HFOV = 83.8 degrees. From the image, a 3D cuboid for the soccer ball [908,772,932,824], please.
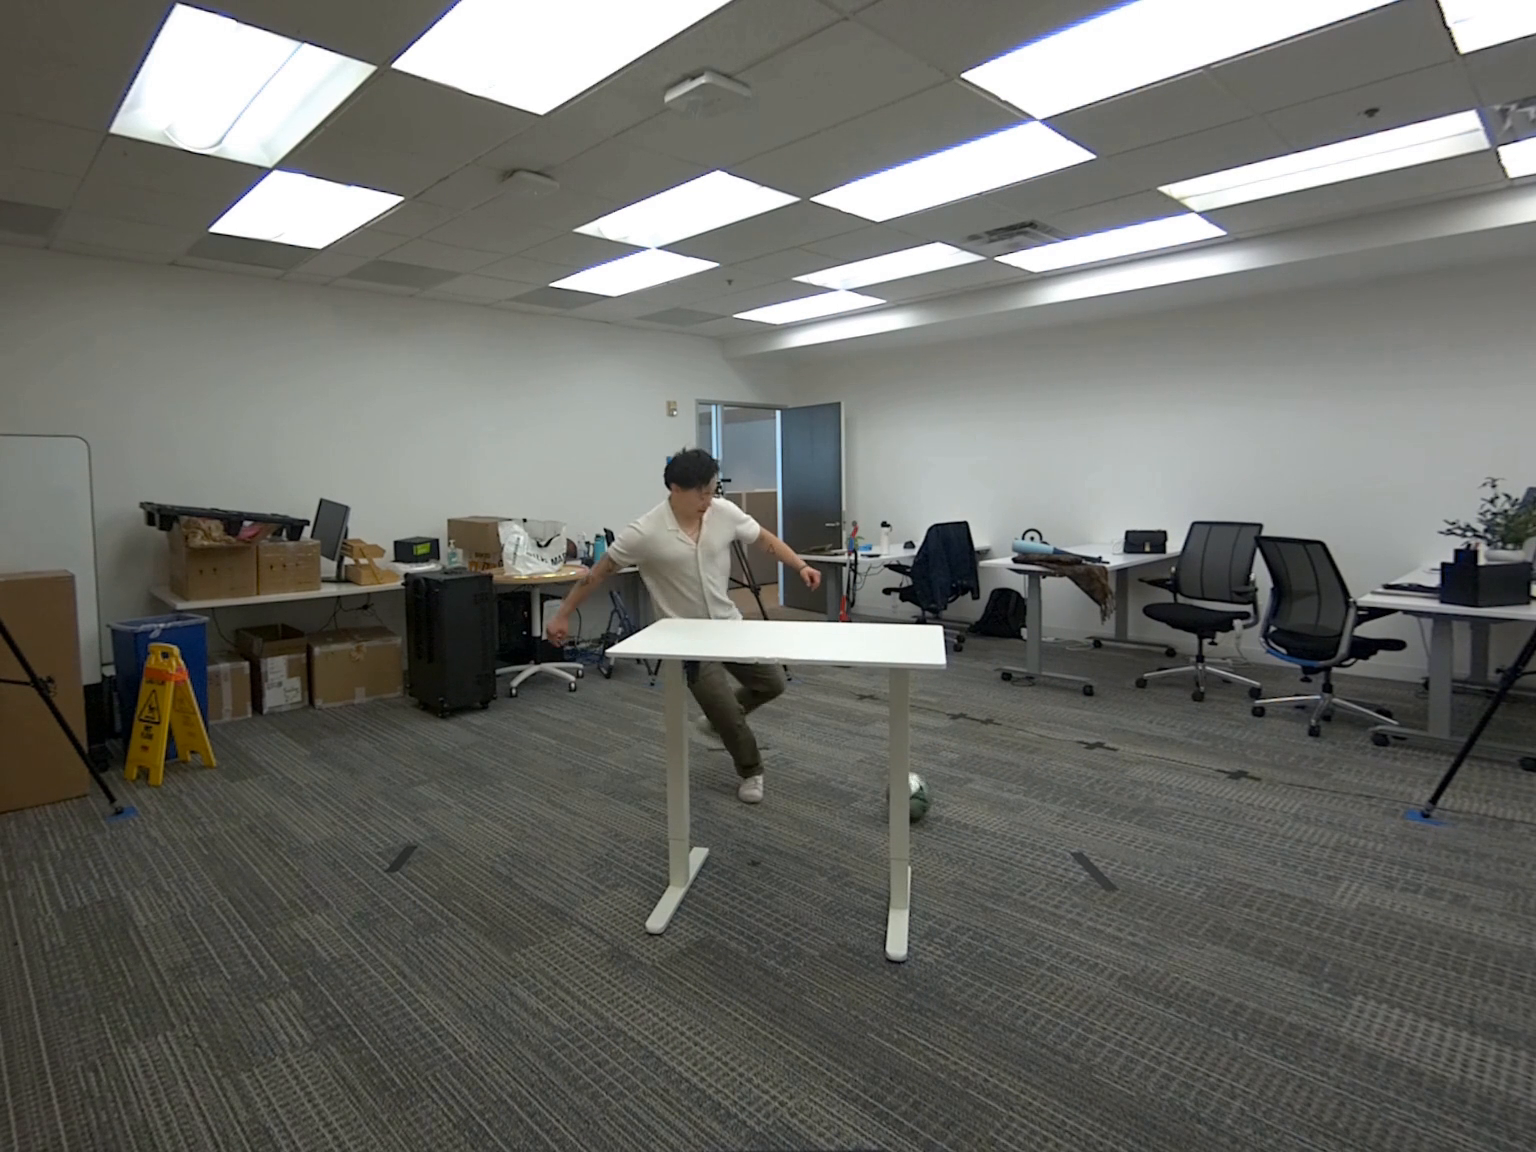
[{"bbox_3d":[0.580,0.896,3.495,0.187,0.187,0.188,-1,5,-2],"label":"soccer ball"}]
